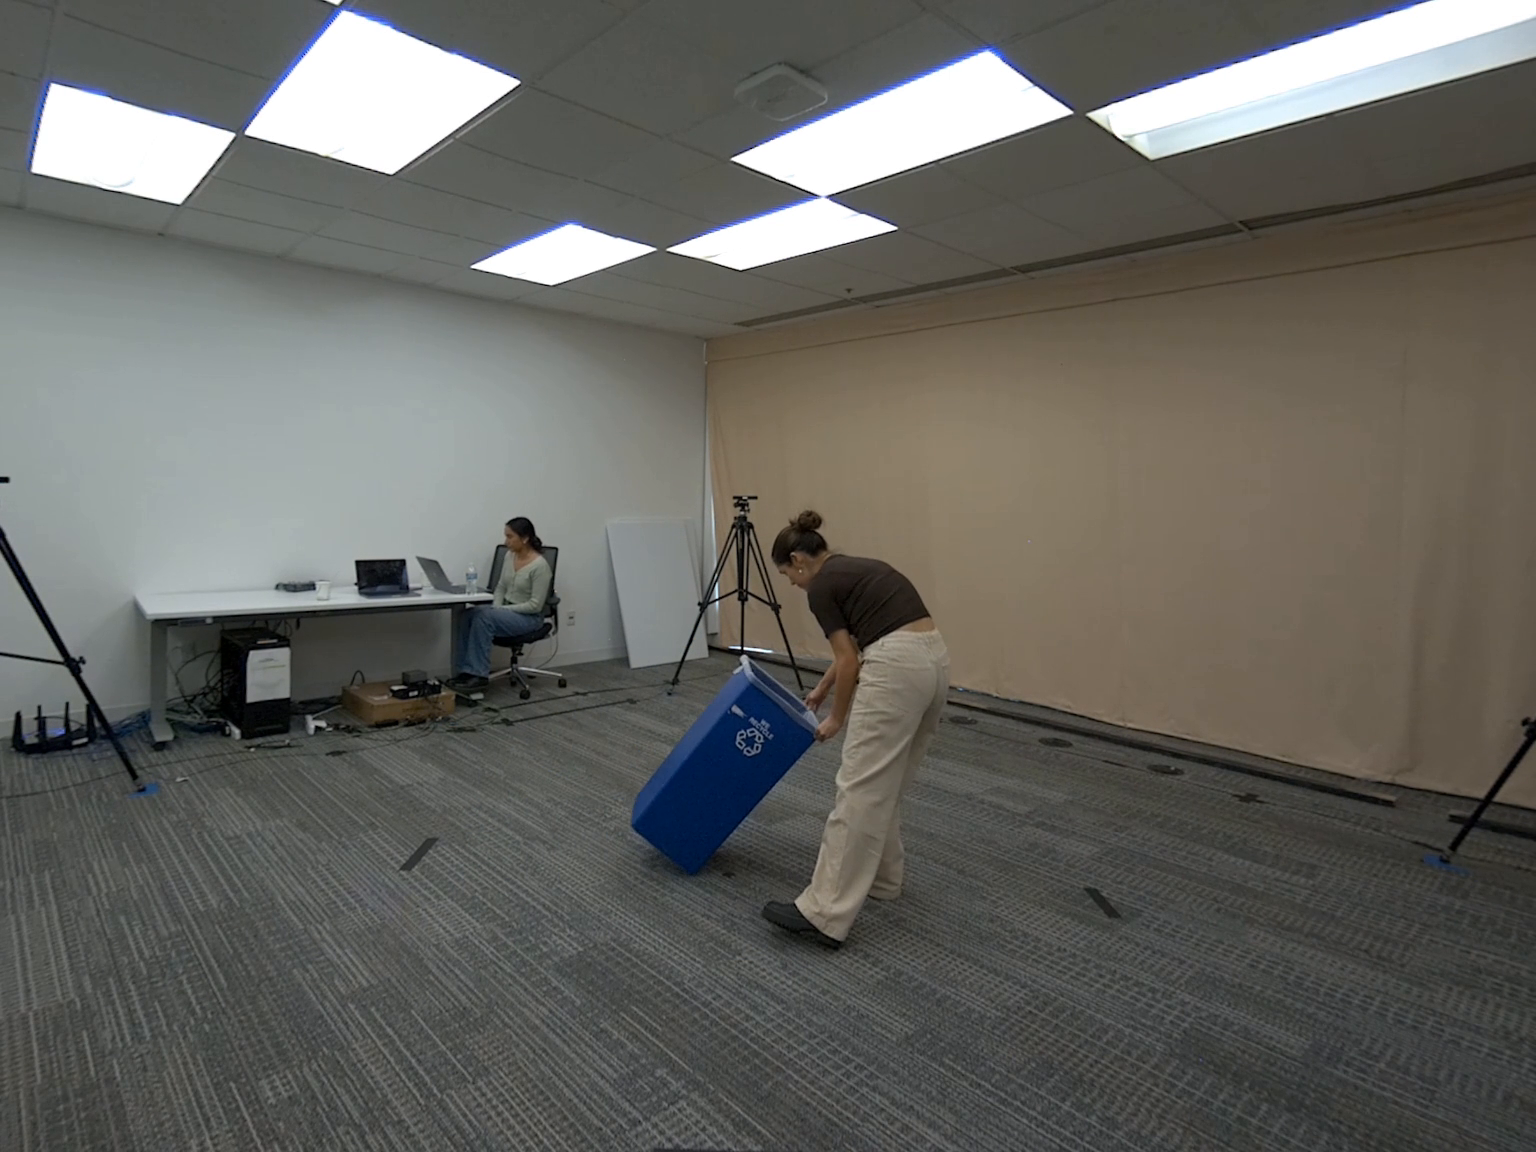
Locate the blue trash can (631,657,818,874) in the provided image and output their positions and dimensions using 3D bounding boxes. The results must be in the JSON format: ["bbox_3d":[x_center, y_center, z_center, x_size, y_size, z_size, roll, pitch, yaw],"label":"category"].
[{"bbox_3d":[-0.175,0.725,3.206,0.372,0.713,0.380,39,1,-6],"label":"blue trash can"}]
